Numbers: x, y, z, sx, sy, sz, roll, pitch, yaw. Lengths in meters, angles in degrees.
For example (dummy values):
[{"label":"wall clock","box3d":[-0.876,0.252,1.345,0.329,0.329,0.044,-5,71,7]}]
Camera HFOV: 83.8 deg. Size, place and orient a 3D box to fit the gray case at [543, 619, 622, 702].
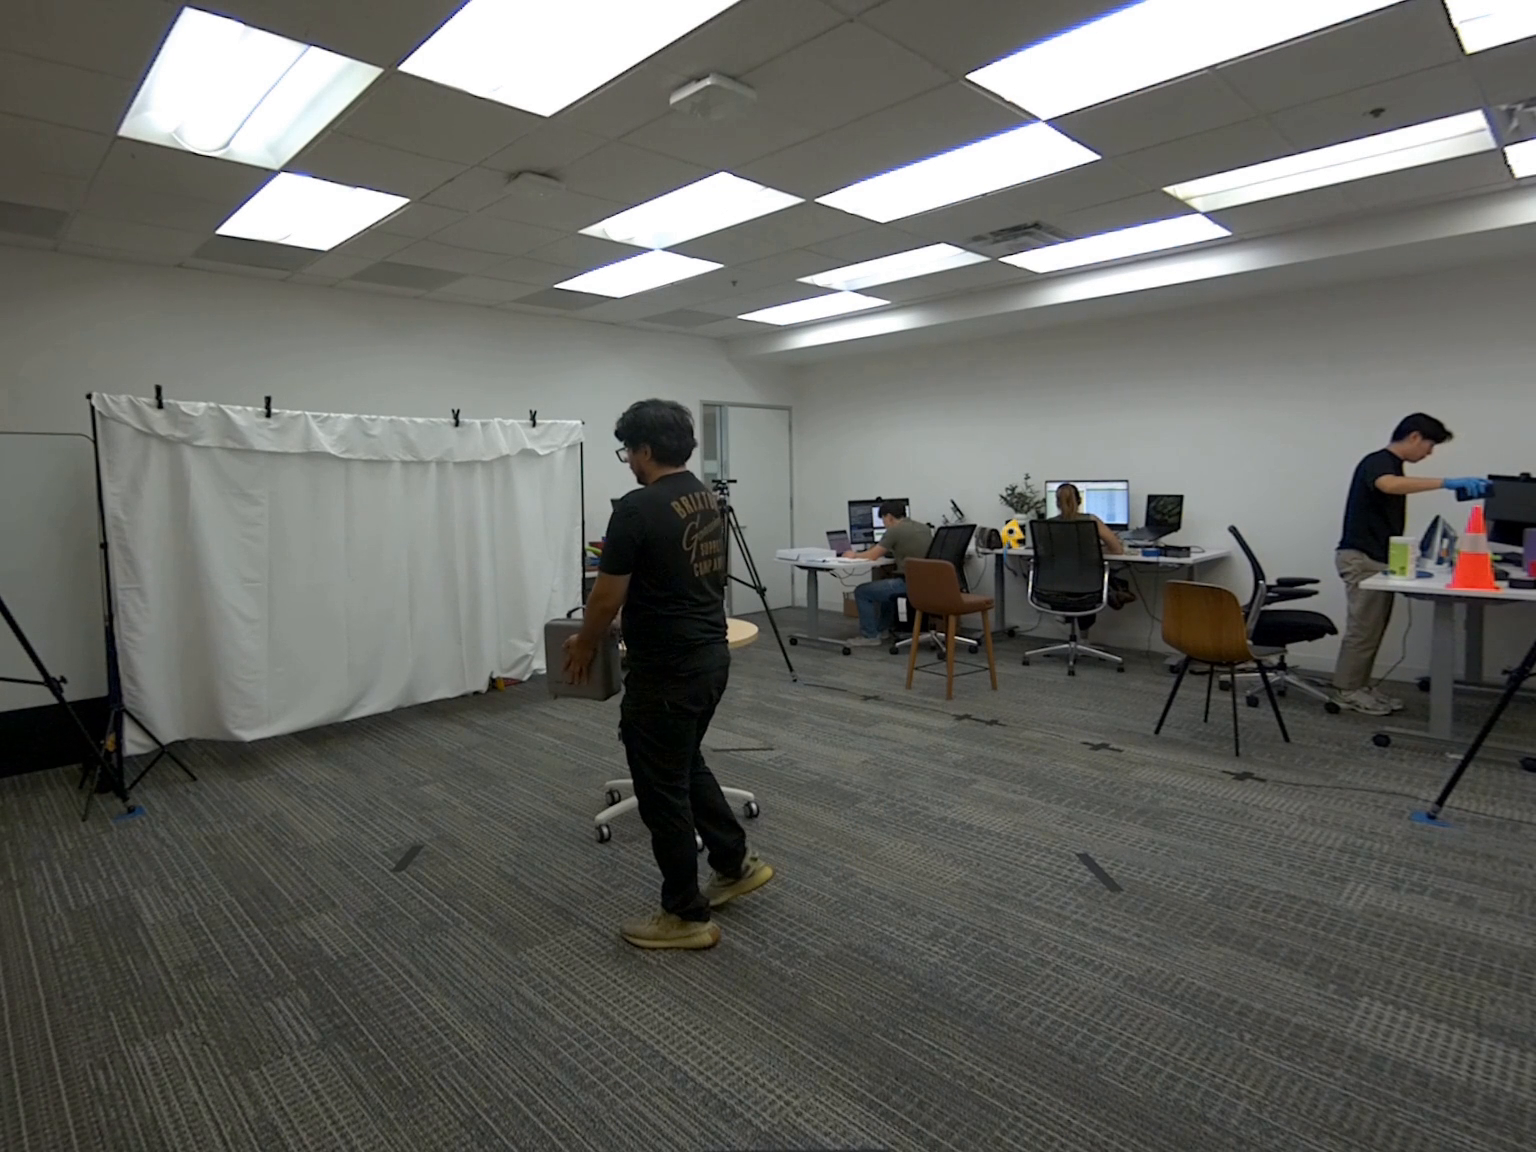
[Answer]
[{"label":"gray case","box3d":[-0.598,0.260,2.778,0.263,0.260,0.102,0,2,30]}]
